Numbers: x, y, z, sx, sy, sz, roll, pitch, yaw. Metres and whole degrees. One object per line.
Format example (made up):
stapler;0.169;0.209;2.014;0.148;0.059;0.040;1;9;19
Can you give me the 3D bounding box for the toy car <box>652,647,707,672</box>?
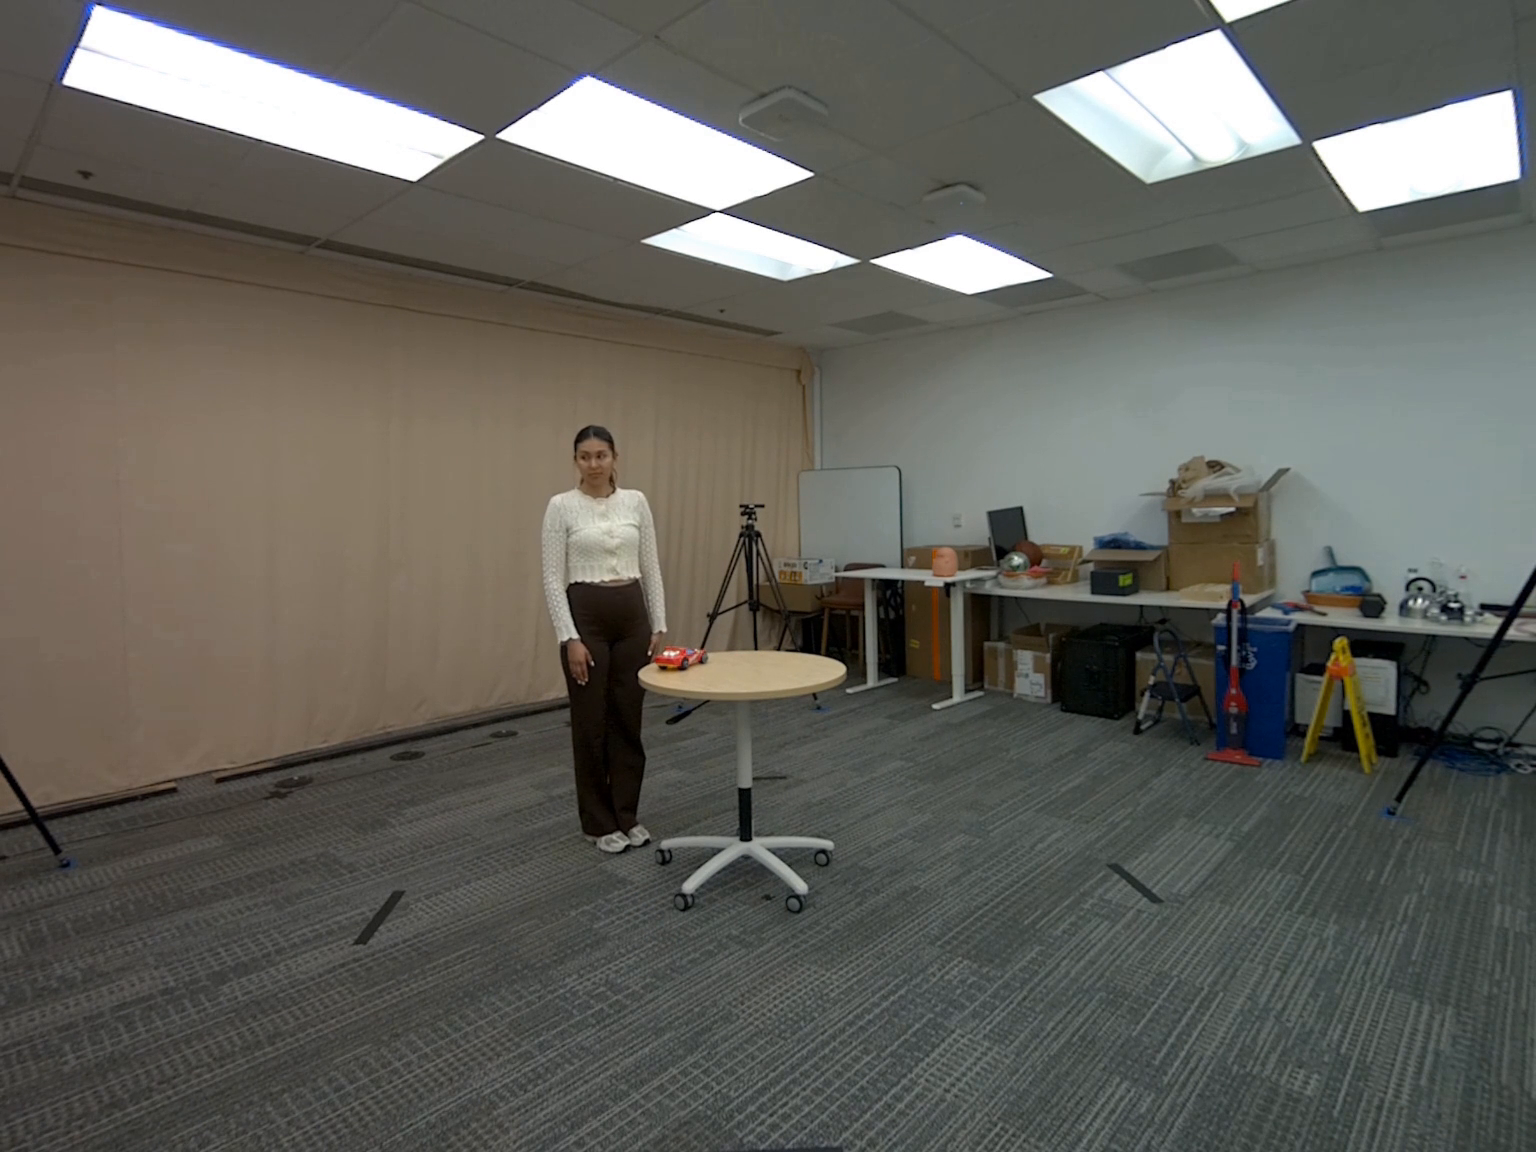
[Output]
toy car;-0.334;0.314;3.193;0.134;0.083;0.247;0;-7;28
